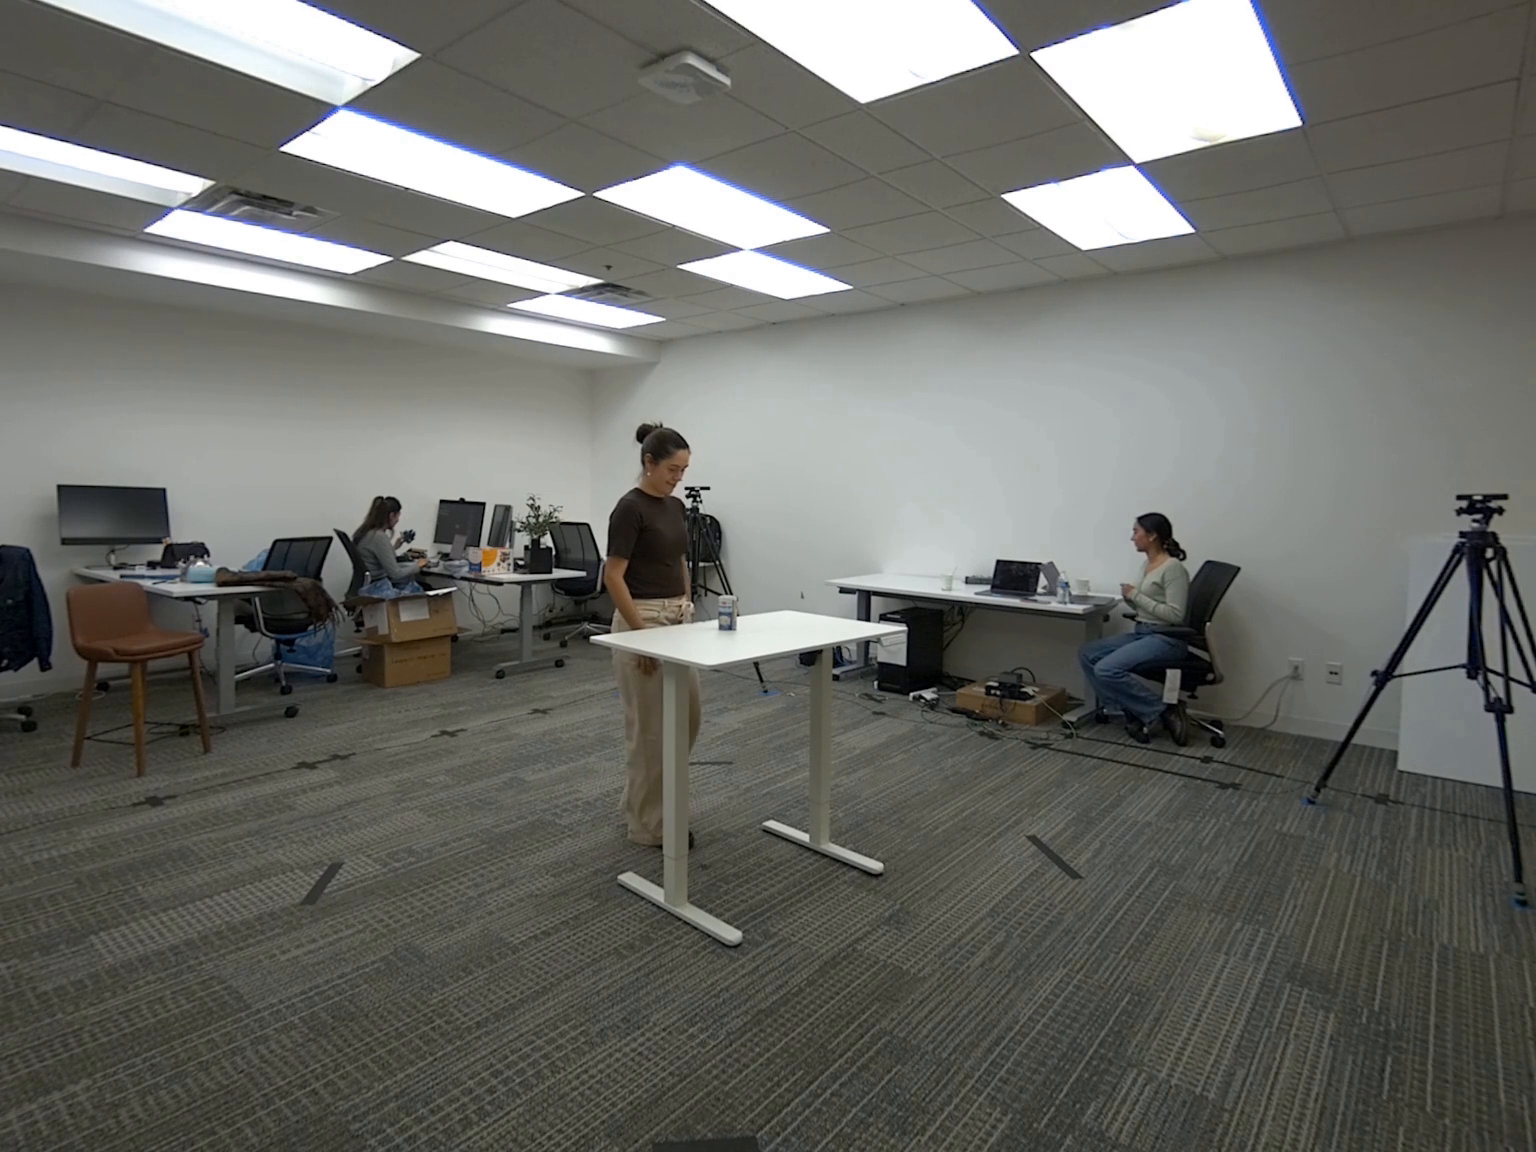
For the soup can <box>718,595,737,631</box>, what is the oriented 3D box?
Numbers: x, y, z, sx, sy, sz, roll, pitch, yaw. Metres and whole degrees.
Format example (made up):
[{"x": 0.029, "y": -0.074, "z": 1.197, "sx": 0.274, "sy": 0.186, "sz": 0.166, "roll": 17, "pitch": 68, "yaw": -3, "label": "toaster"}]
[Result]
[{"x": -0.158, "y": 0.131, "z": 3.048, "sx": 0.067, "sy": 0.121, "sz": 0.067, "roll": -2, "pitch": 2, "yaw": -2, "label": "soup can"}]
